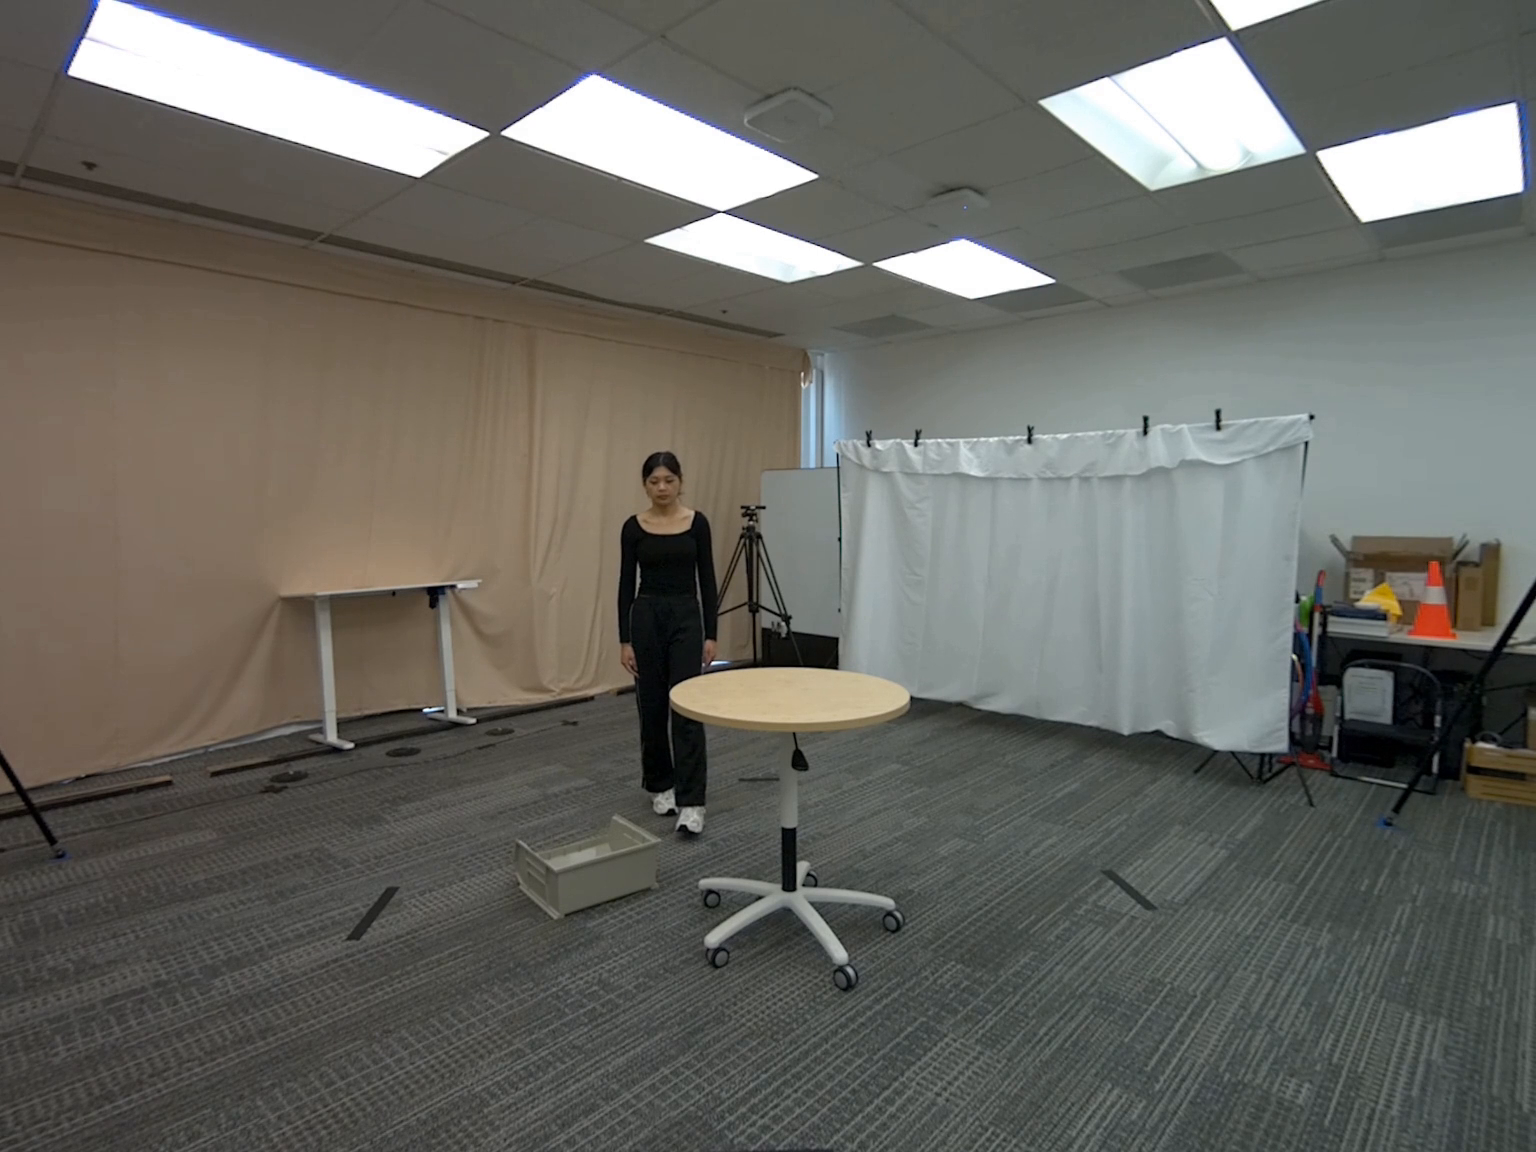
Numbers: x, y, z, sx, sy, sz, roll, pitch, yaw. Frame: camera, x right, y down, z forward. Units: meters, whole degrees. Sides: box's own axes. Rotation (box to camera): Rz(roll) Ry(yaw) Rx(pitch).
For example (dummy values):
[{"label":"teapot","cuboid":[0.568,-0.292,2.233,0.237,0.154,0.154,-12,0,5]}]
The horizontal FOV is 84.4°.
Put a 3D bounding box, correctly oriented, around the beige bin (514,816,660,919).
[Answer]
[{"label":"beige bin","cuboid":[-0.672,1.052,3.093,0.410,0.188,0.390,-3,6,-37]}]
